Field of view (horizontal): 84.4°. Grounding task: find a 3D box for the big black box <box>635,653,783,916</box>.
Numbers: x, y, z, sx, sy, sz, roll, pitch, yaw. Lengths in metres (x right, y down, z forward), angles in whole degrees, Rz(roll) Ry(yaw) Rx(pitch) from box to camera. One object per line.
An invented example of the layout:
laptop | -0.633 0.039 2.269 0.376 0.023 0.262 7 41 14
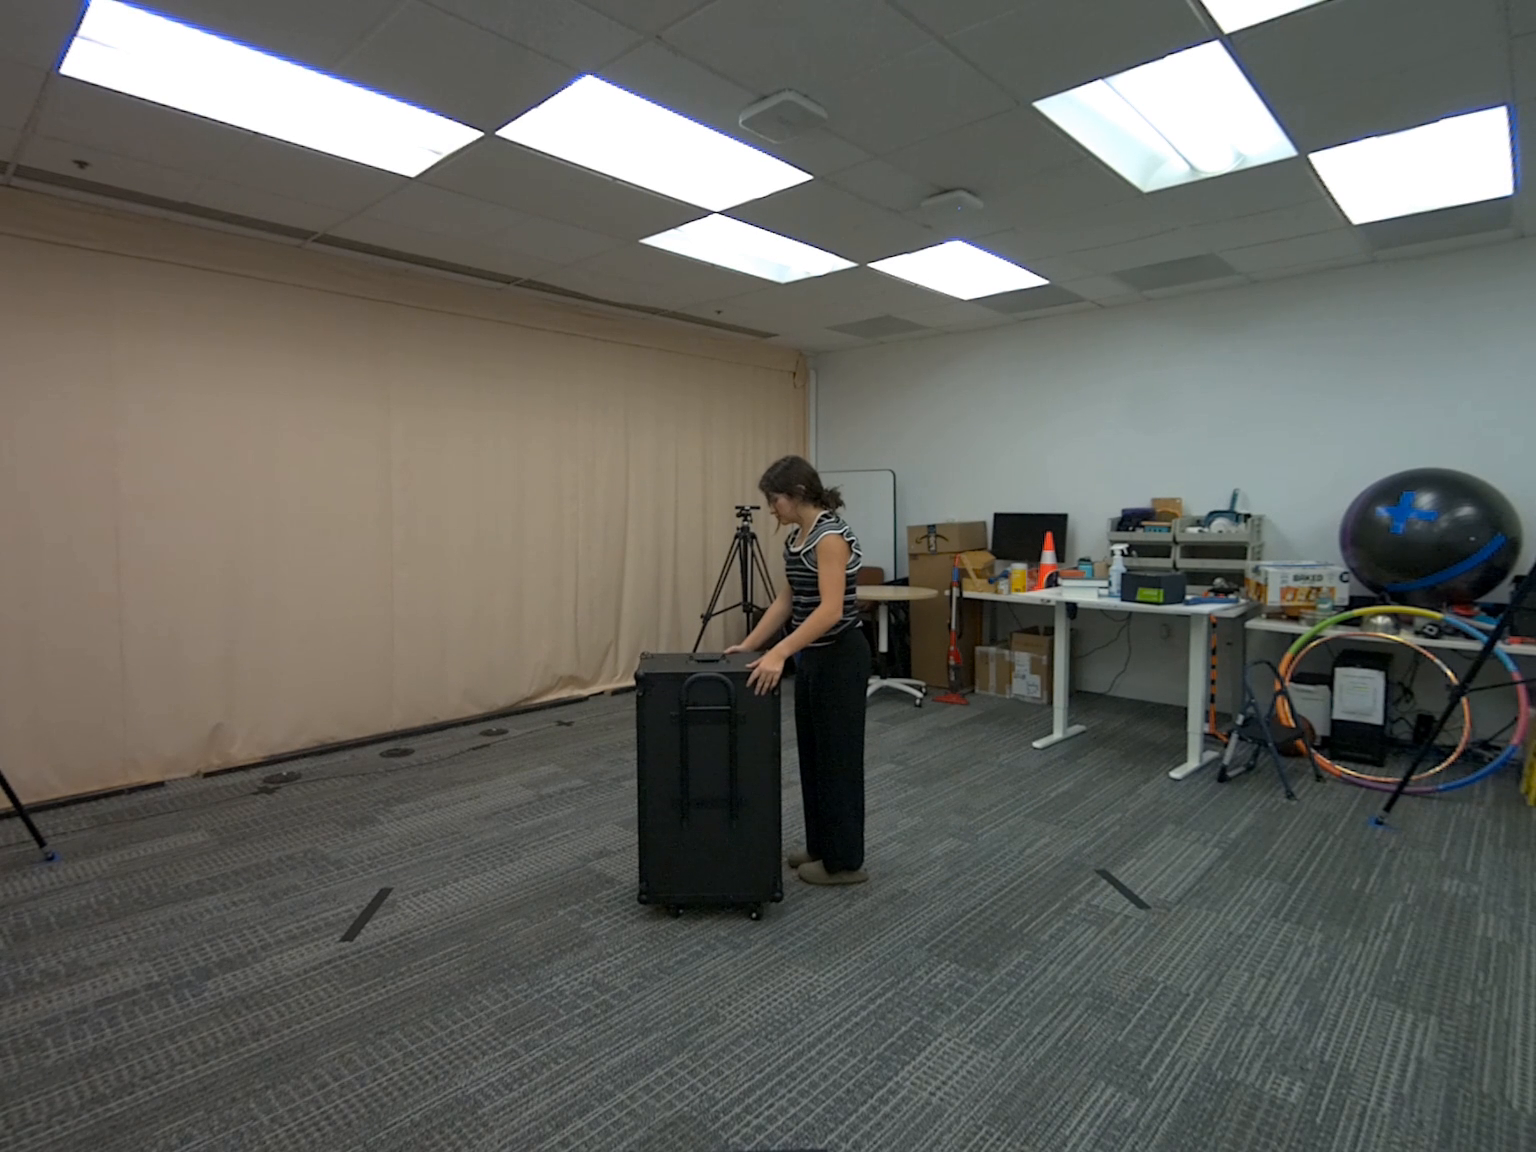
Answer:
big black box | -0.201 0.728 2.950 0.520 0.859 0.398 -1 3 -2
